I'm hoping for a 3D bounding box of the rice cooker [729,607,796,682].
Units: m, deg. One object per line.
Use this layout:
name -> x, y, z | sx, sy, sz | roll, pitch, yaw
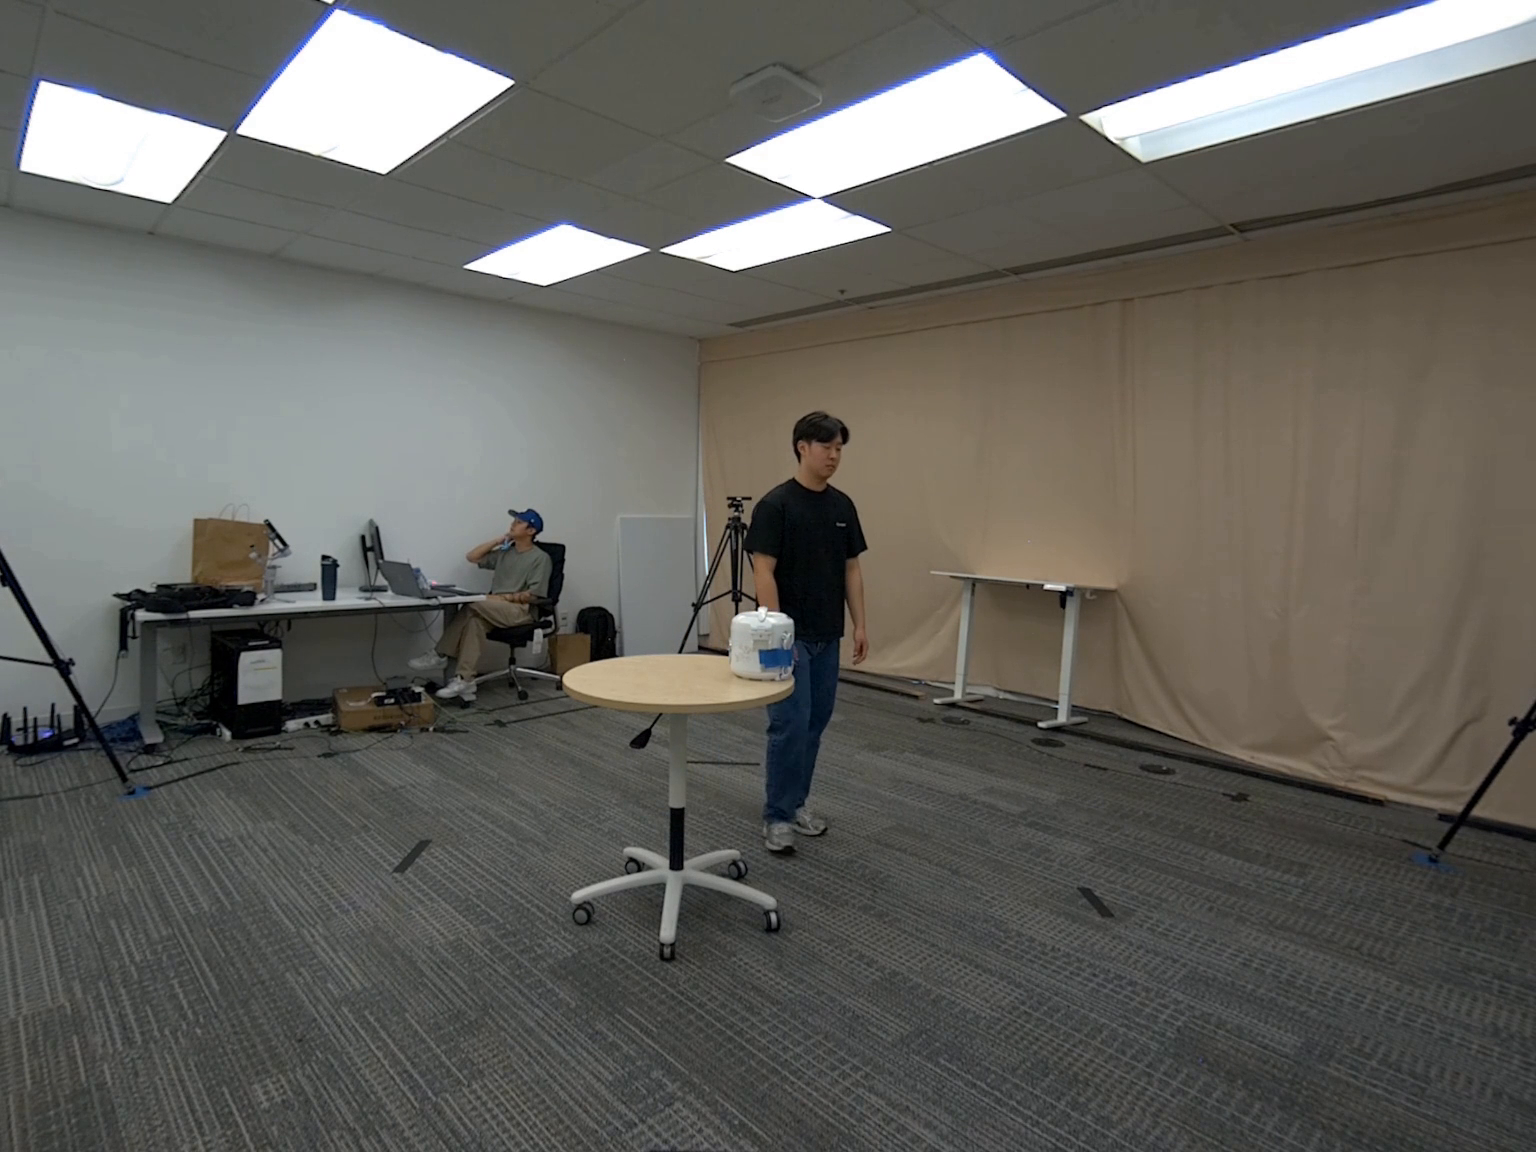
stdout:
rice cooker -> -0.027, 0.222, 2.820 | 0.218, 0.232, 0.220 | 3, 4, 3
